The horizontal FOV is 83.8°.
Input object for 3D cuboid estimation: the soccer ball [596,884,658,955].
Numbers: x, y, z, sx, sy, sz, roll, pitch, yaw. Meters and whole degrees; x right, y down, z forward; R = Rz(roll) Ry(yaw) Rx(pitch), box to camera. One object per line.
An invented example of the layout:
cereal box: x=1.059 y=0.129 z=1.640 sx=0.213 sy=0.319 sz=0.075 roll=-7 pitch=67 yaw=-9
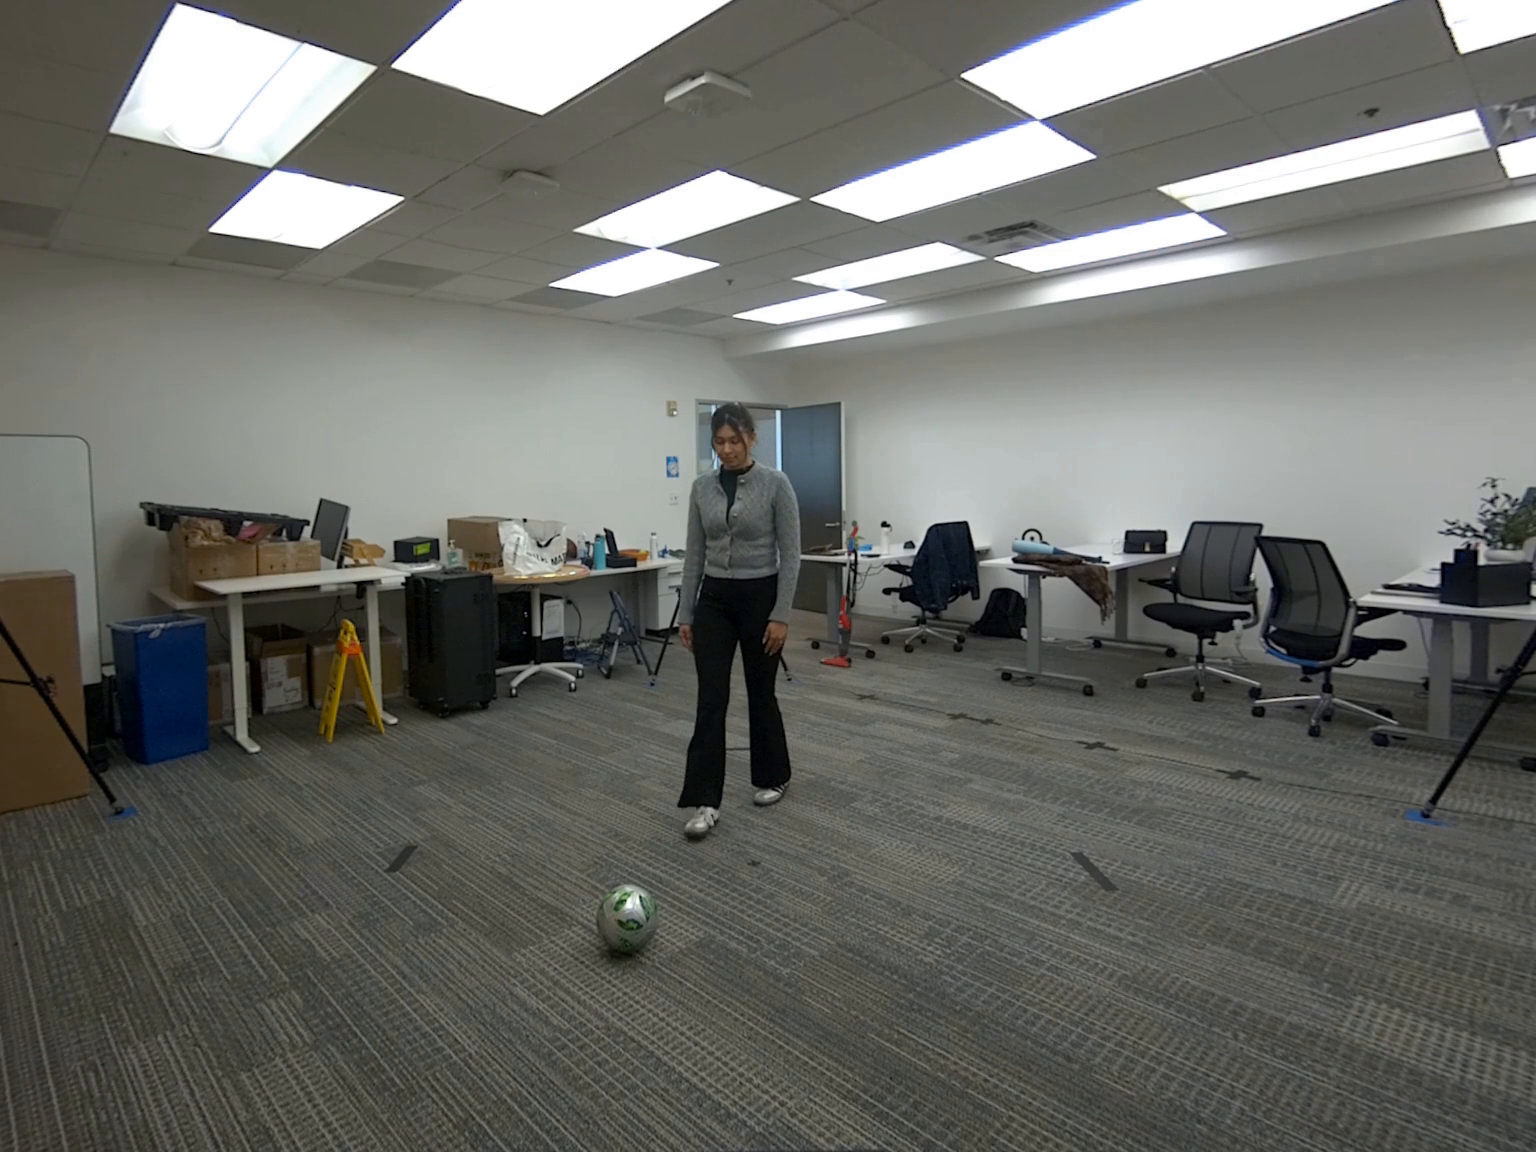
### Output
soccer ball: x=-0.414 y=1.024 z=2.554 sx=0.187 sy=0.187 sz=0.188 roll=-1 pitch=5 yaw=-2
